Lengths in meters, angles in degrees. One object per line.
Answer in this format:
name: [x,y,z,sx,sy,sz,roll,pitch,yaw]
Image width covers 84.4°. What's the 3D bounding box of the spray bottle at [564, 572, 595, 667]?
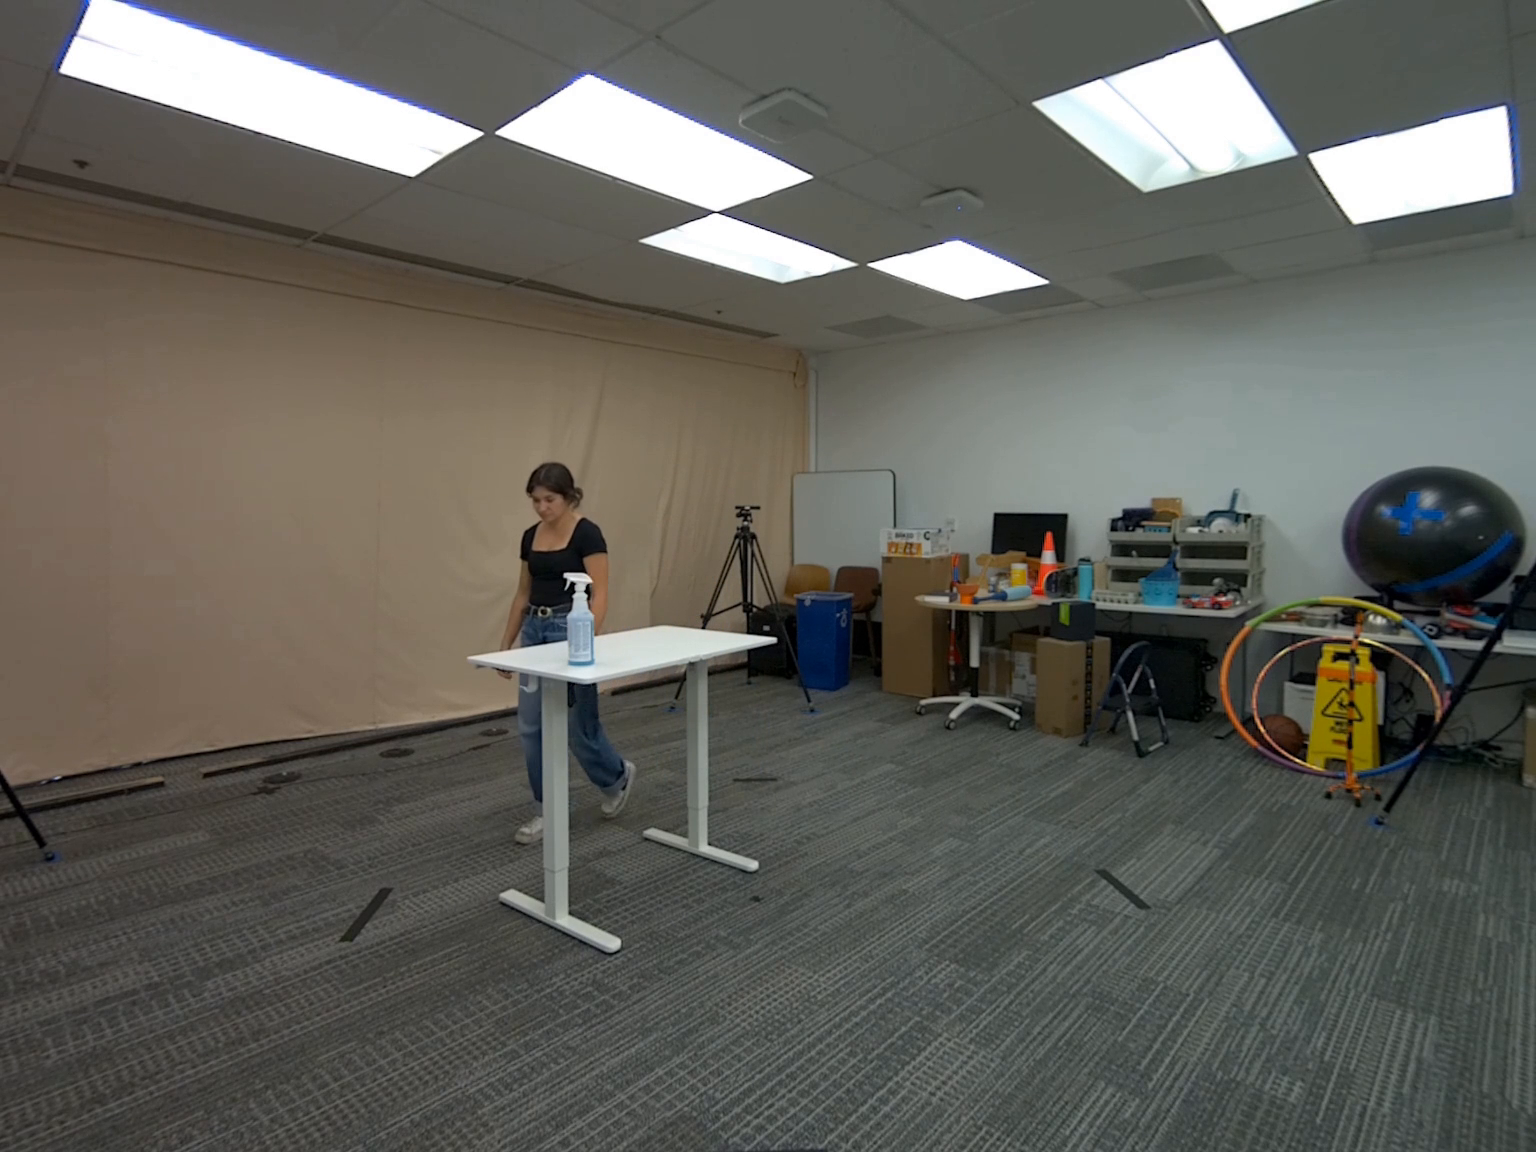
spray bottle: [-0.609,0.144,2.718,0.092,0.296,0.085,-1,4,20]
